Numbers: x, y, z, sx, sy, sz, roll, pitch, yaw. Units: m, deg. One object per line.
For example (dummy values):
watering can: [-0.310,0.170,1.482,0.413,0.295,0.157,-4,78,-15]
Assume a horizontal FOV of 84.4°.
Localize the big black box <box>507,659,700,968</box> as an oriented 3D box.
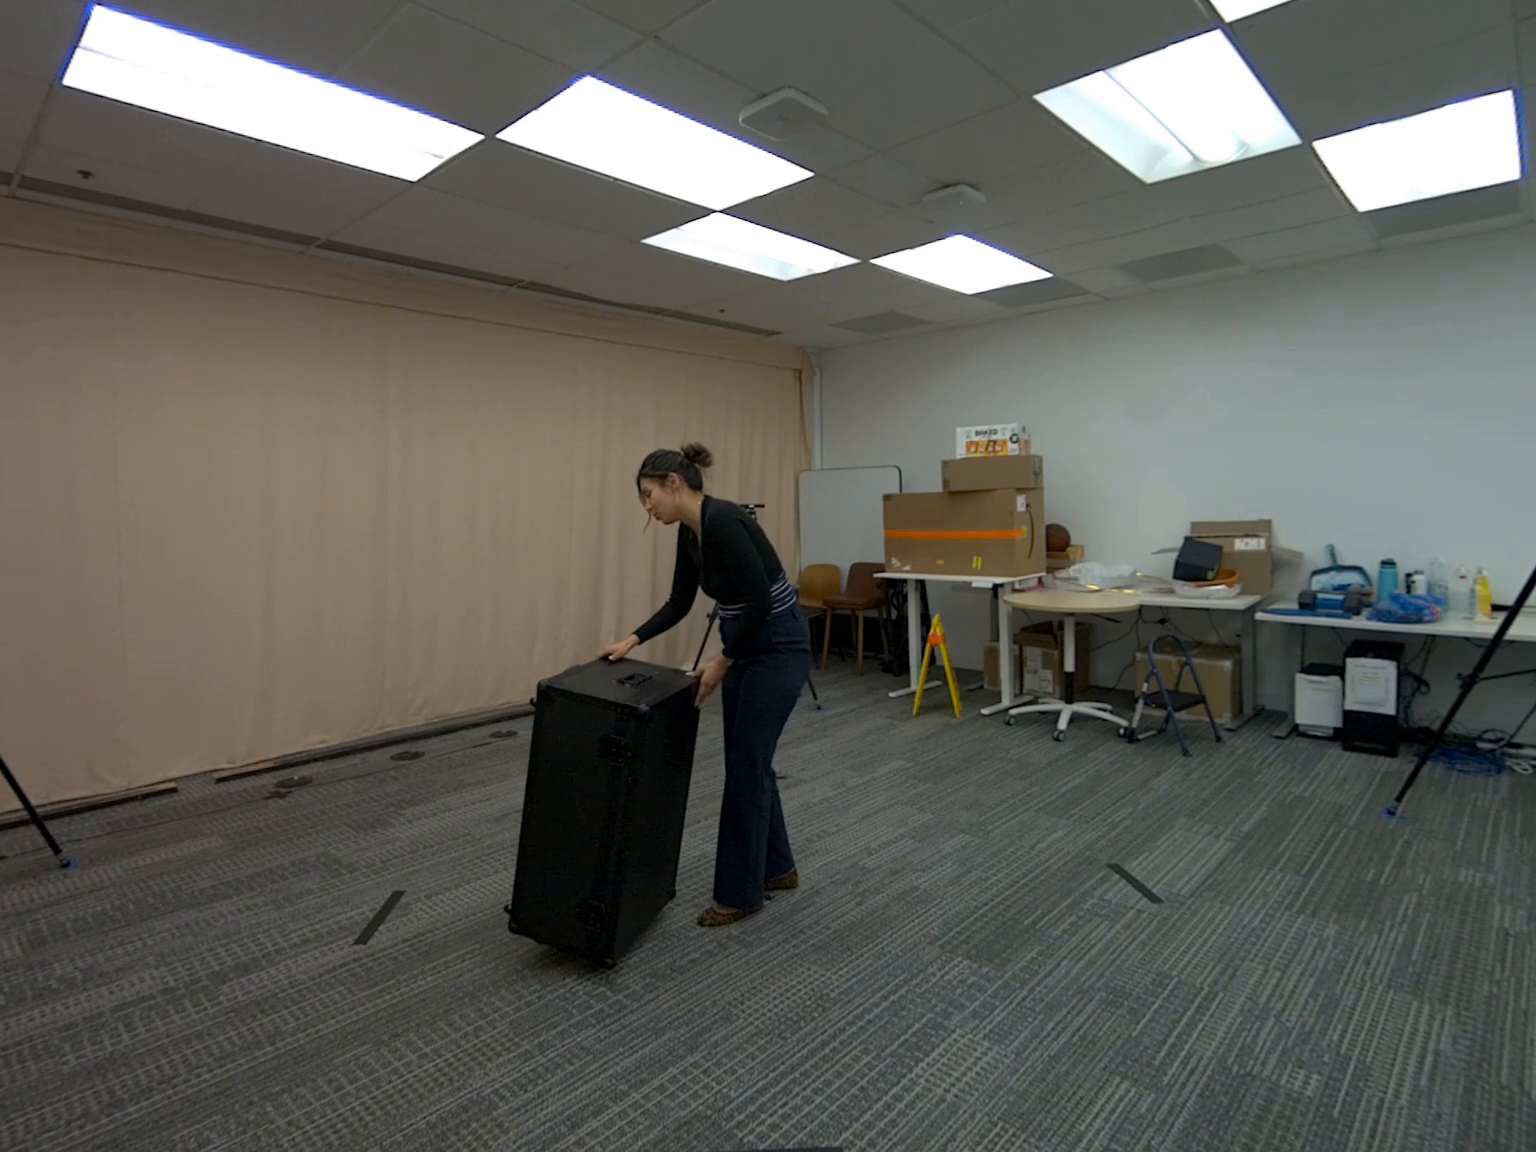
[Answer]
big black box: [-0.517,0.740,2.664,0.404,0.859,0.513,10,6,16]
